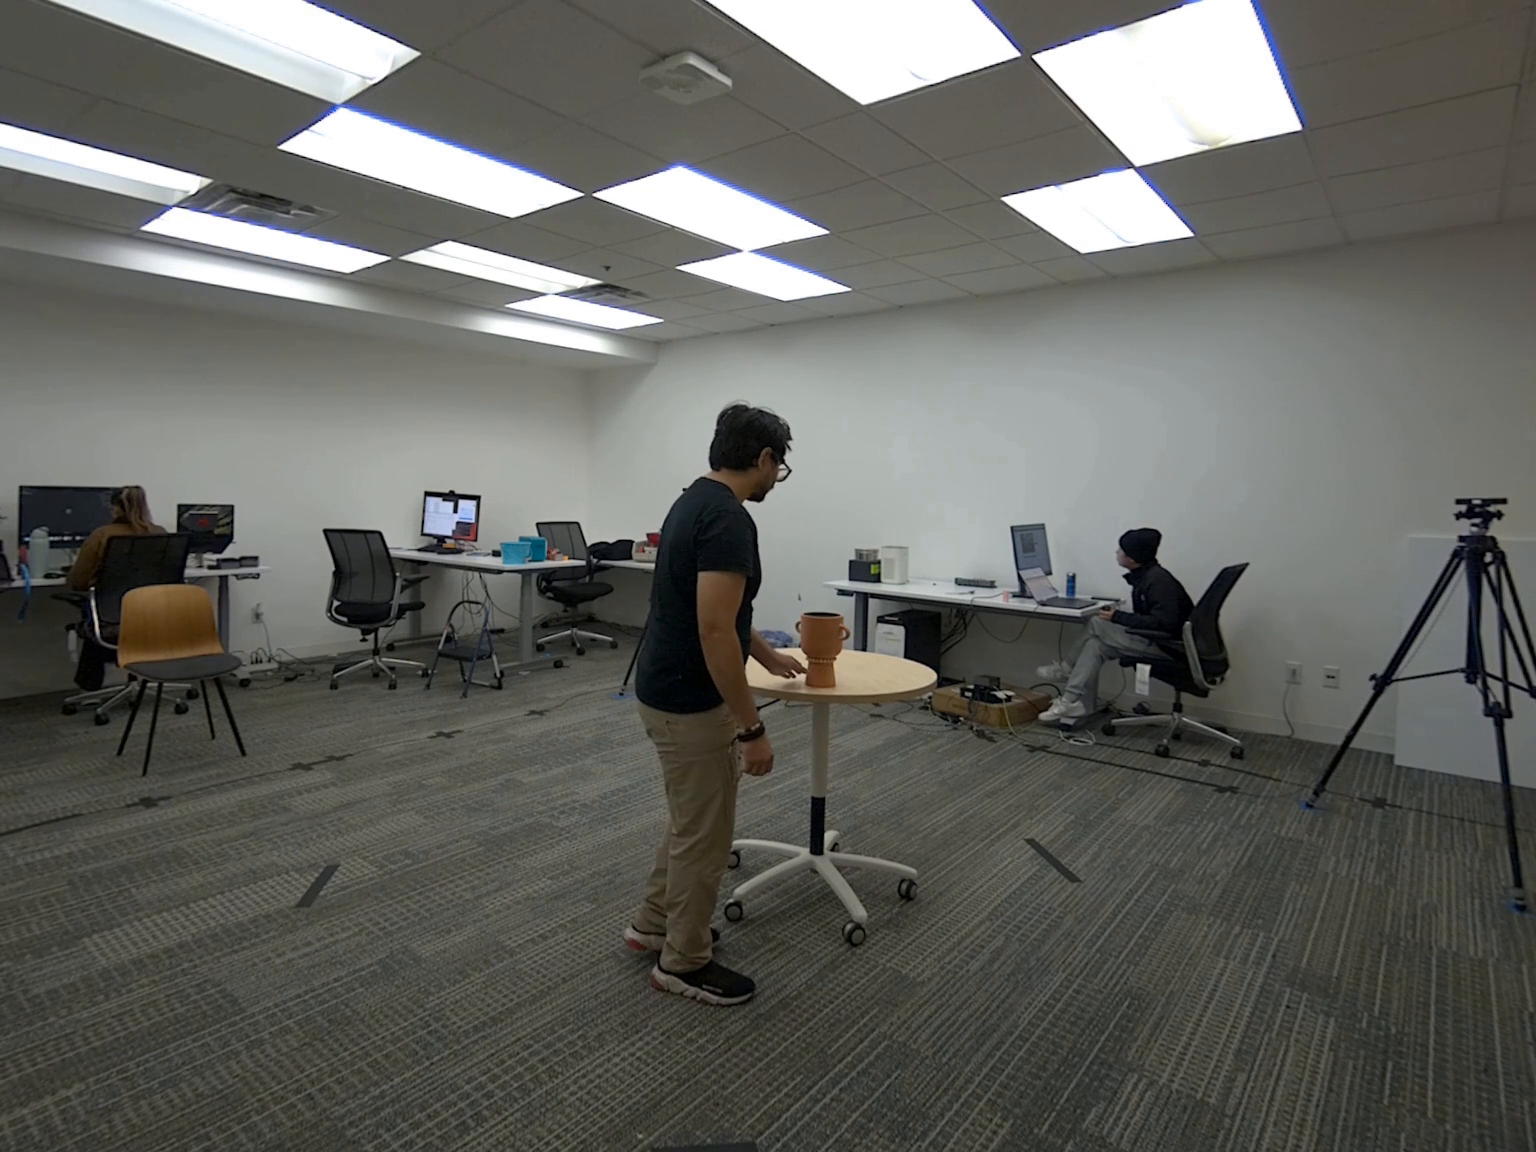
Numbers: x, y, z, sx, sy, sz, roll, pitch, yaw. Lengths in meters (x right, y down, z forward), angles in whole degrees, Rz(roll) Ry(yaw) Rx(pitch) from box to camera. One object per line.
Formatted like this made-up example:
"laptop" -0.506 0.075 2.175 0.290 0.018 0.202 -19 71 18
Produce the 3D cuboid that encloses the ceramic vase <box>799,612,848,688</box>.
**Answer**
"ceramic vase" 0.158 0.229 2.662 0.133 0.219 0.162 2 3 -15
